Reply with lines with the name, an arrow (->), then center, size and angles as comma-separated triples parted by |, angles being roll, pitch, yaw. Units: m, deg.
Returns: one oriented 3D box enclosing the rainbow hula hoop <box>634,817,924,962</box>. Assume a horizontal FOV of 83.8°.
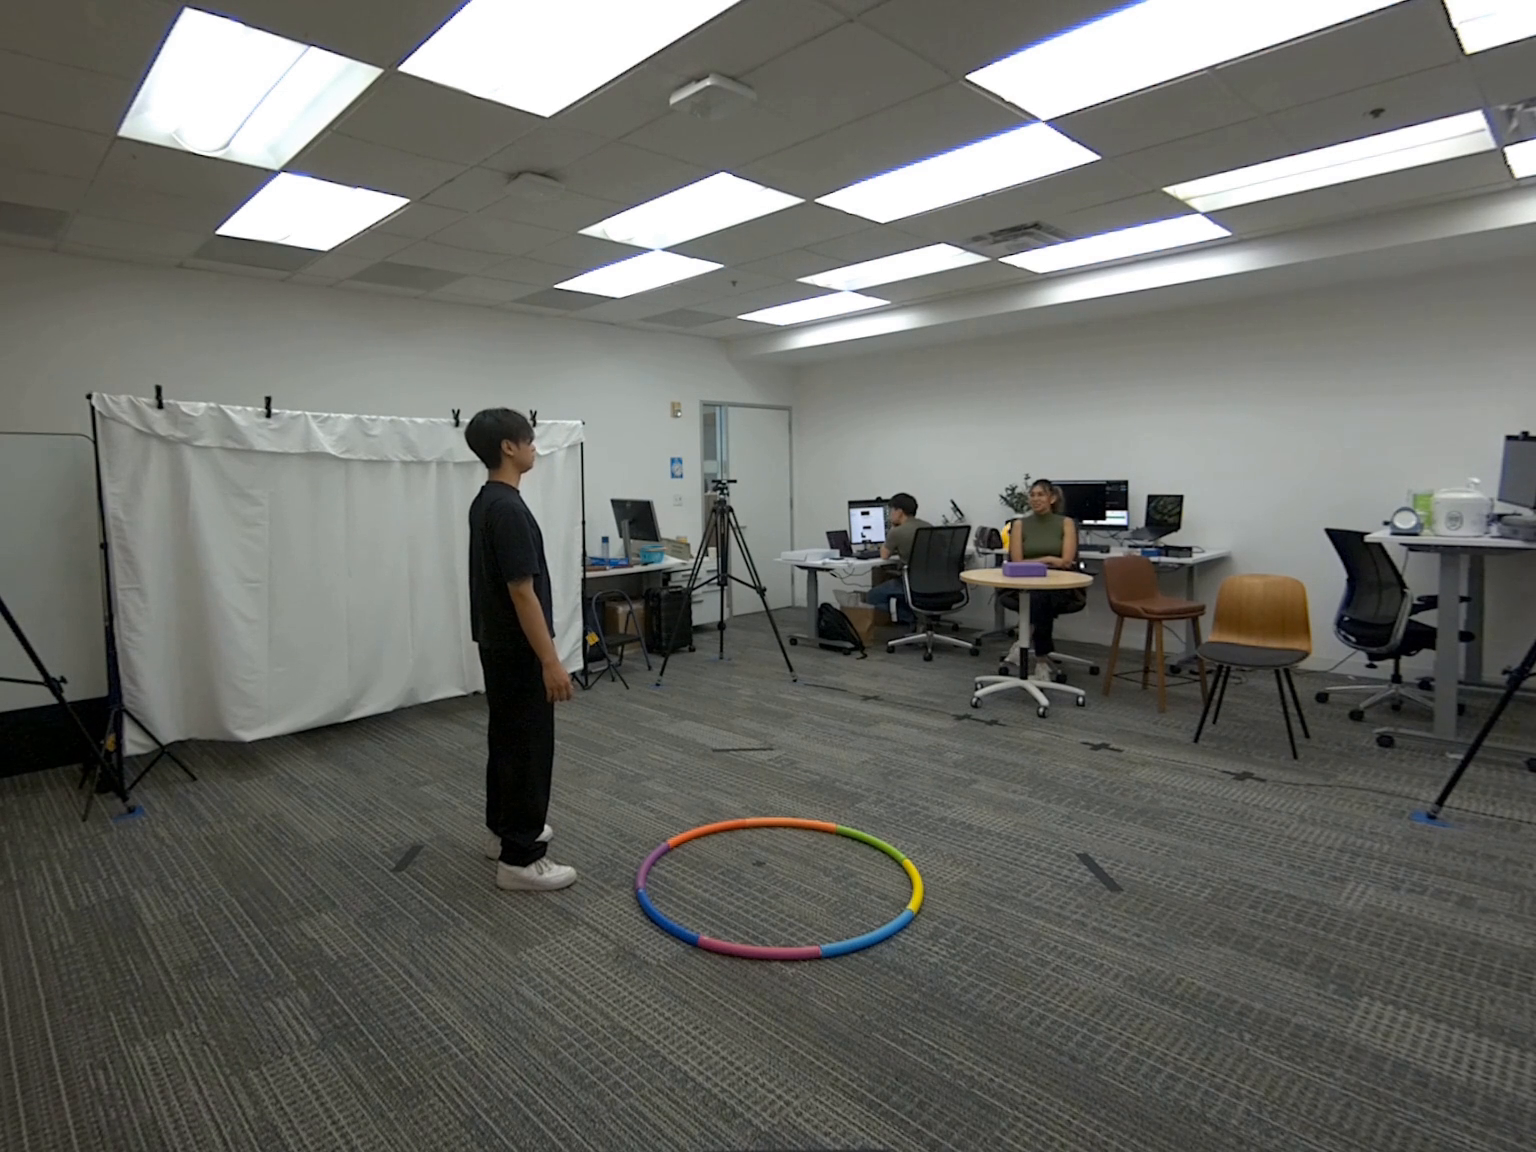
rainbow hula hoop -> 0.031, 1.032, 2.968 | 0.978, 0.035, 0.984 | -1, 6, -2
